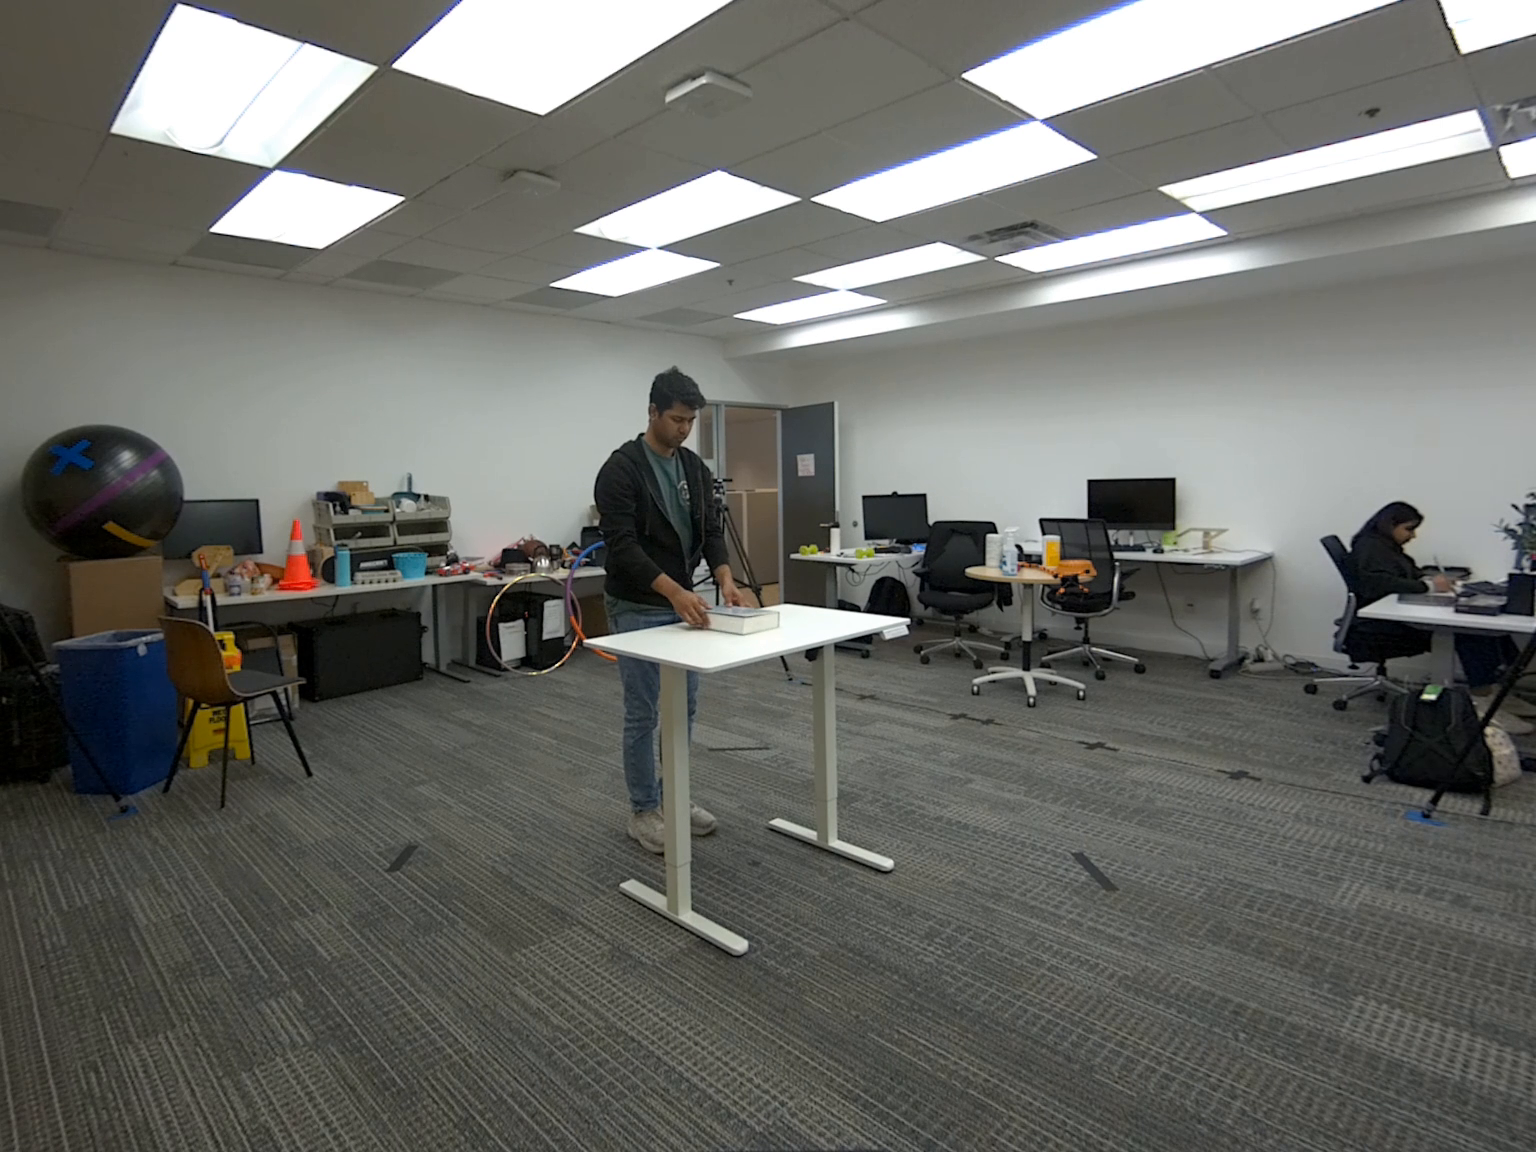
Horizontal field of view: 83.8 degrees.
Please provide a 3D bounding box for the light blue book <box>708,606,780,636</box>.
[{"bbox_3d":[-0.113,0.149,2.958,0.269,0.059,0.186,4,6,42],"label":"light blue book"}]
